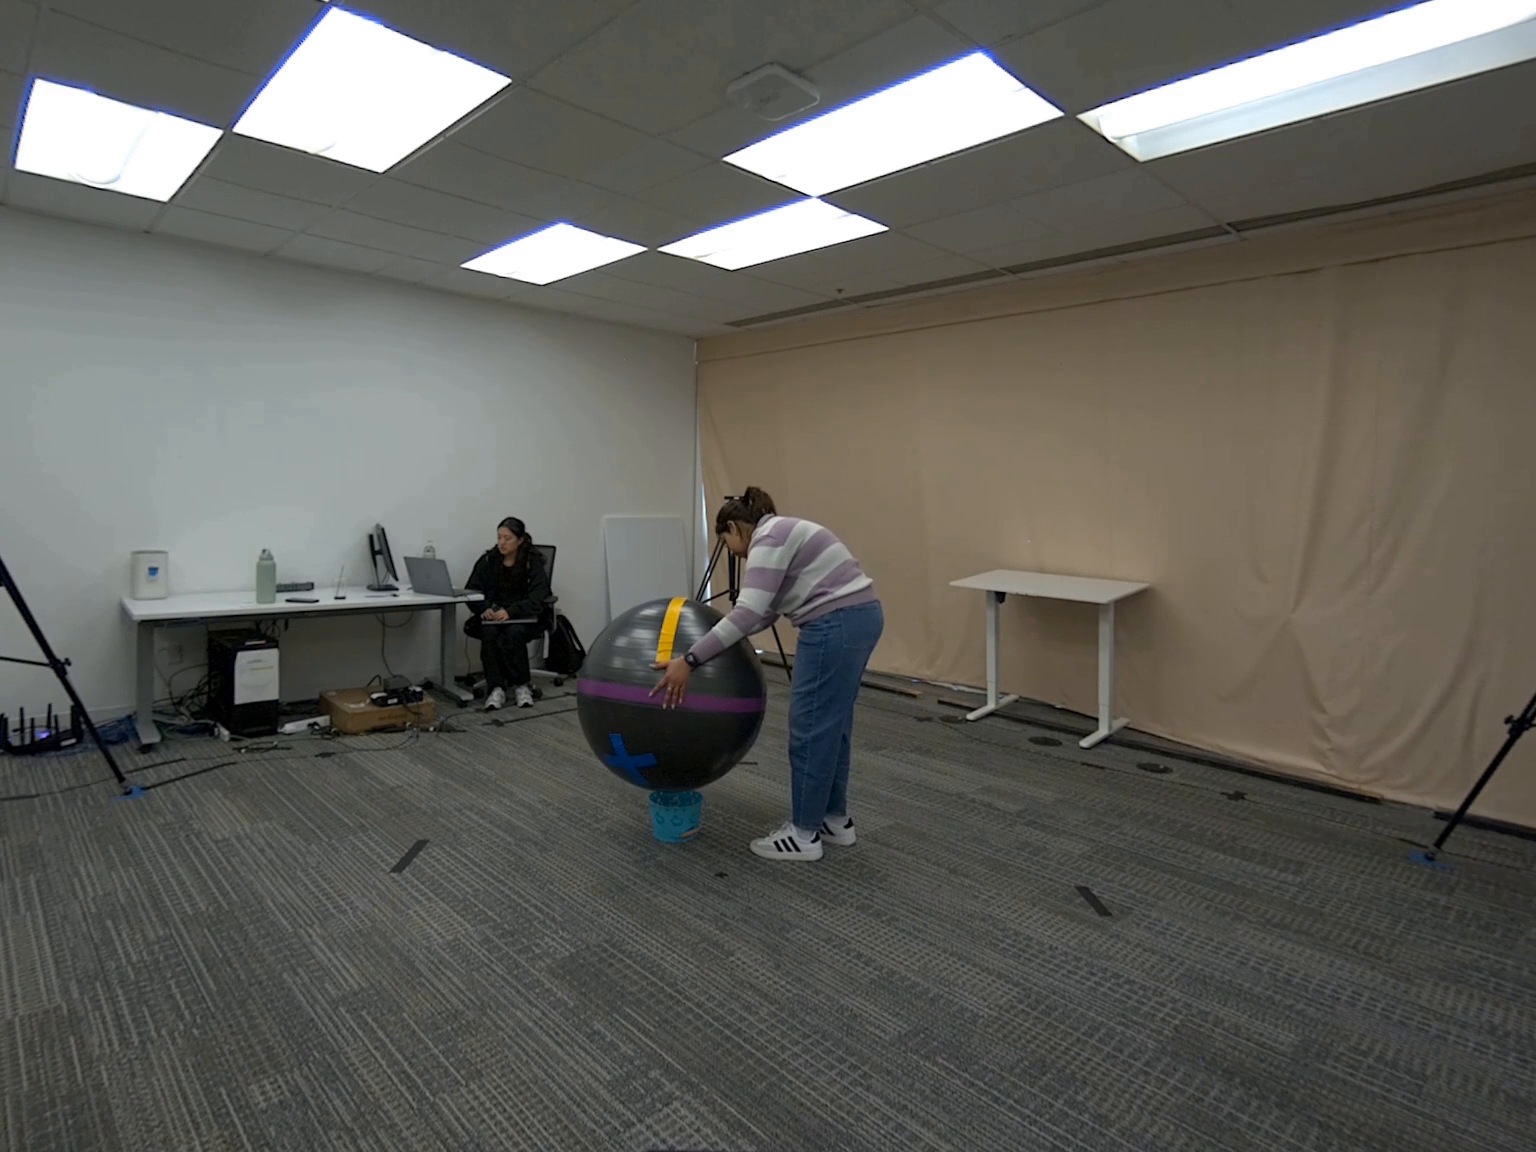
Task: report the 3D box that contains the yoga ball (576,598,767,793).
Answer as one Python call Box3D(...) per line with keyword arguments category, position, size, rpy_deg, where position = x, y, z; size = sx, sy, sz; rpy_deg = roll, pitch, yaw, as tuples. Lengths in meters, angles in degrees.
Box3D(category="yoga ball", position=(-0.384, 0.473, 3.367), size=(0.757, 0.756, 0.761), rpy_deg=(1, 4, -1))
